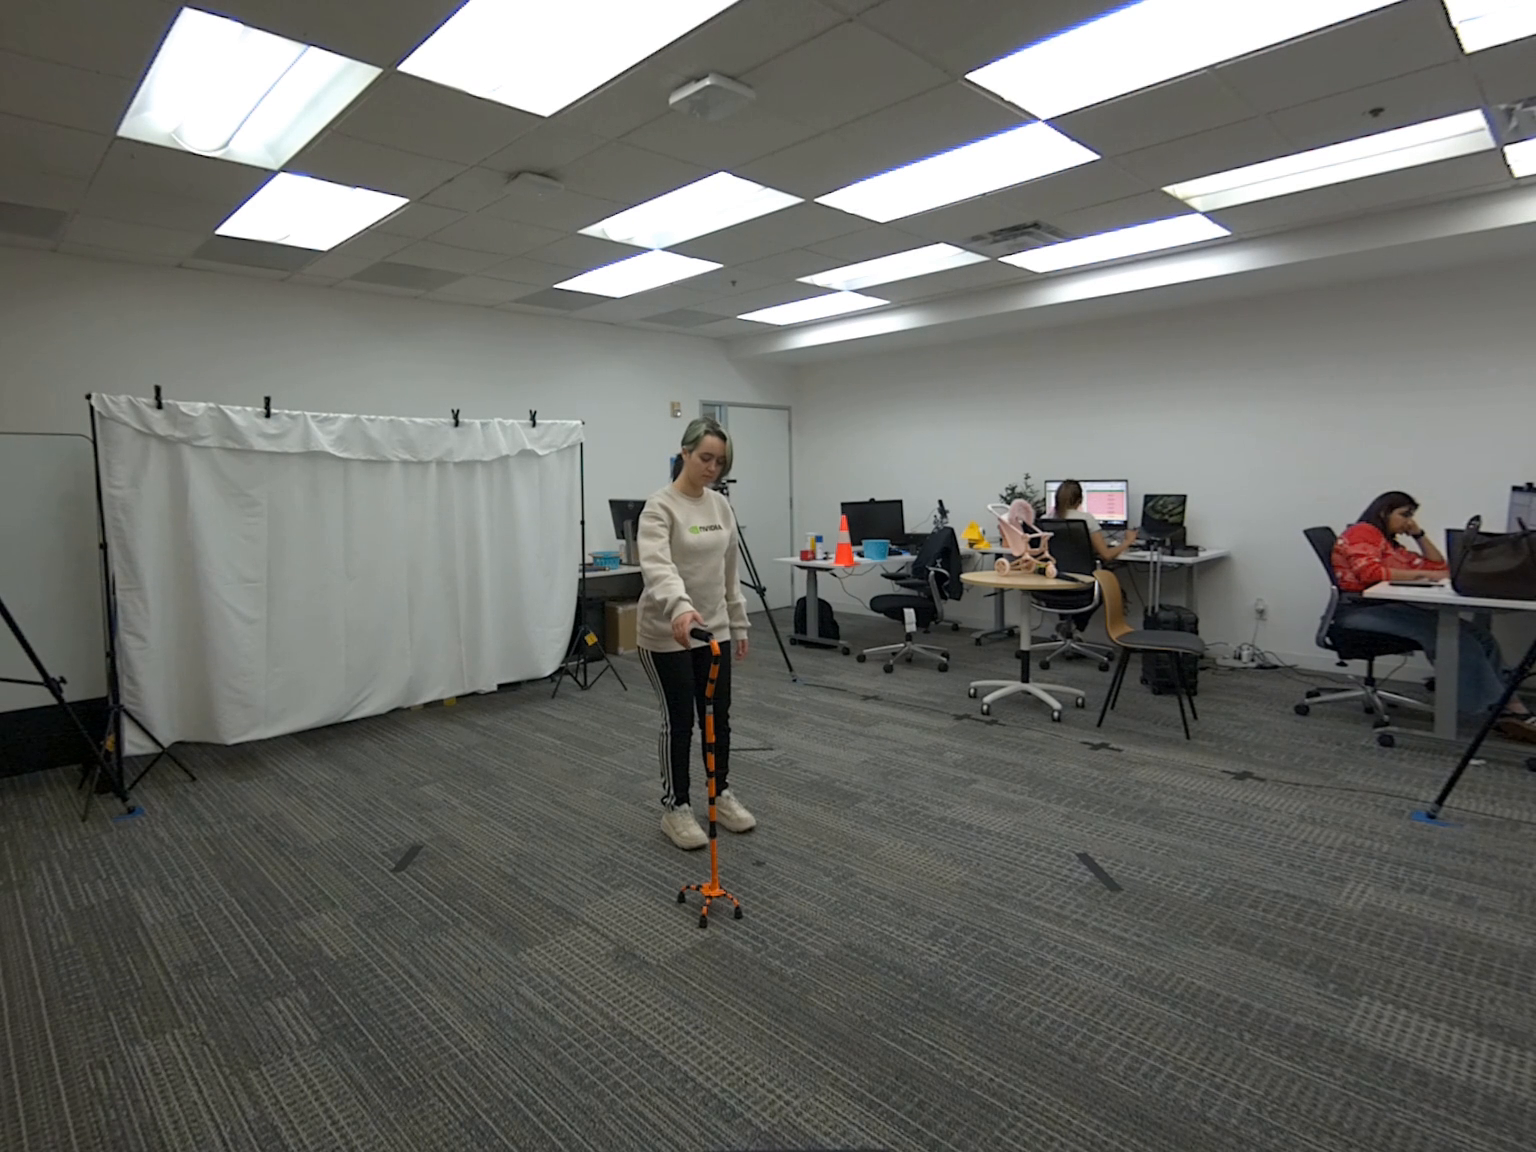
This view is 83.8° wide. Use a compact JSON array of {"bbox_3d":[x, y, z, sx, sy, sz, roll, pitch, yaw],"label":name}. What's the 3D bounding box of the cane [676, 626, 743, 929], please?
[{"bbox_3d":[-0.203,0.639,2.759,0.148,0.905,0.211,-3,4,-26],"label":"cane"}]
